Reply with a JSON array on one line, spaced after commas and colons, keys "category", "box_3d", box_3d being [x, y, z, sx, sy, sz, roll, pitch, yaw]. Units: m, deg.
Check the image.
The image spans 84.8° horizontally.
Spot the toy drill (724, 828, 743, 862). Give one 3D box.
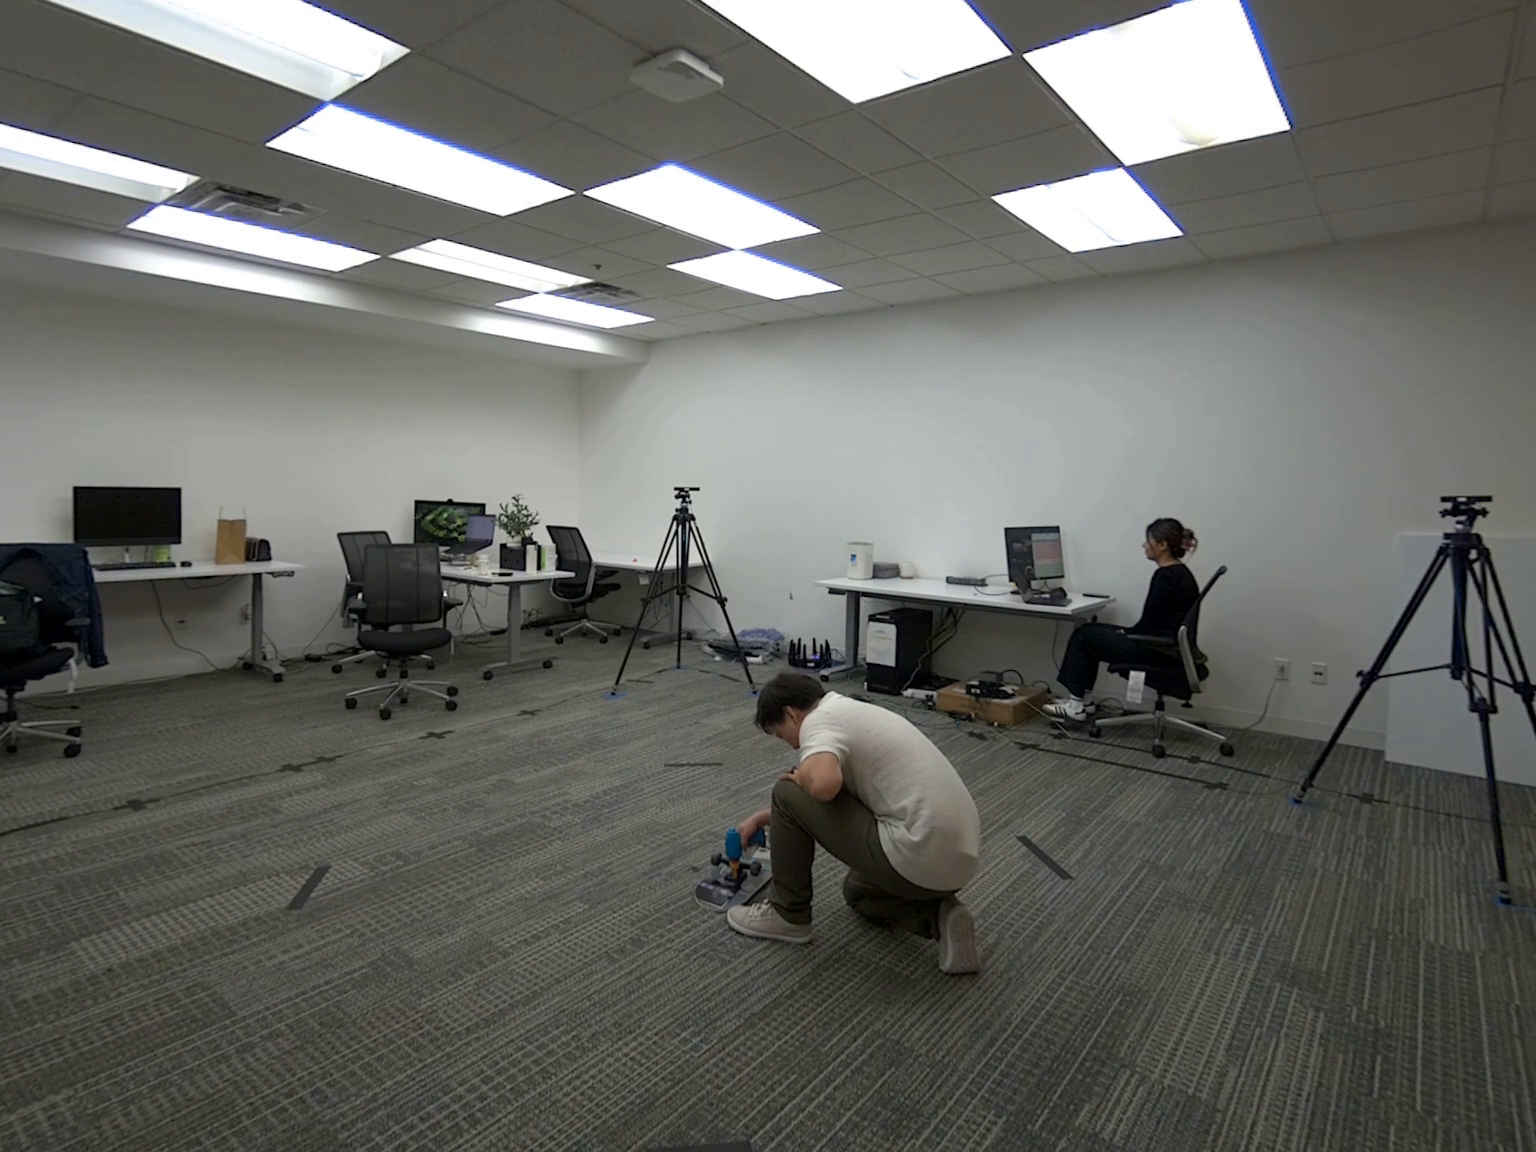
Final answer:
[{"category": "toy drill", "box_3d": [-0.087, 0.955, 2.944, 0.145, 0.171, 0.061, -6, -8, -9]}]
